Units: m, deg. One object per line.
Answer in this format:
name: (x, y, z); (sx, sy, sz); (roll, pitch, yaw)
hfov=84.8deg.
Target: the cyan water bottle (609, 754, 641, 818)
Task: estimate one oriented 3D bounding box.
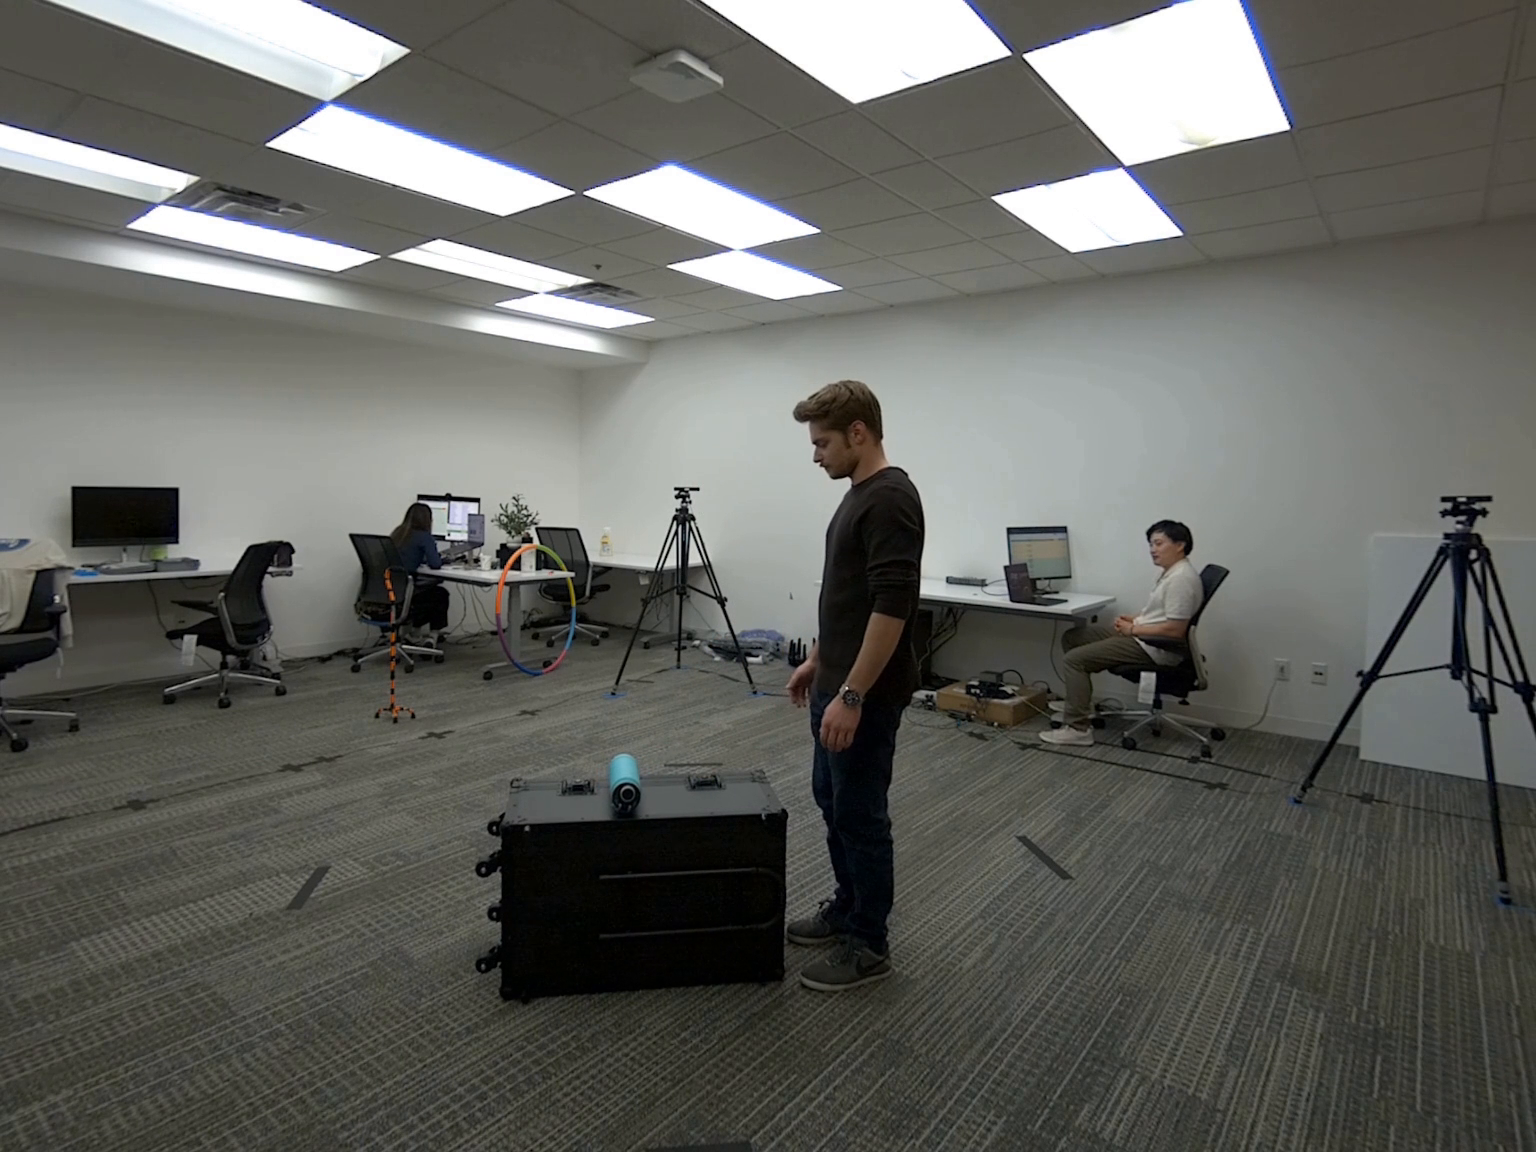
cyan water bottle: (-0.425, 0.602, 2.457); (0.091, 0.092, 0.287); (0, 6, -11)
